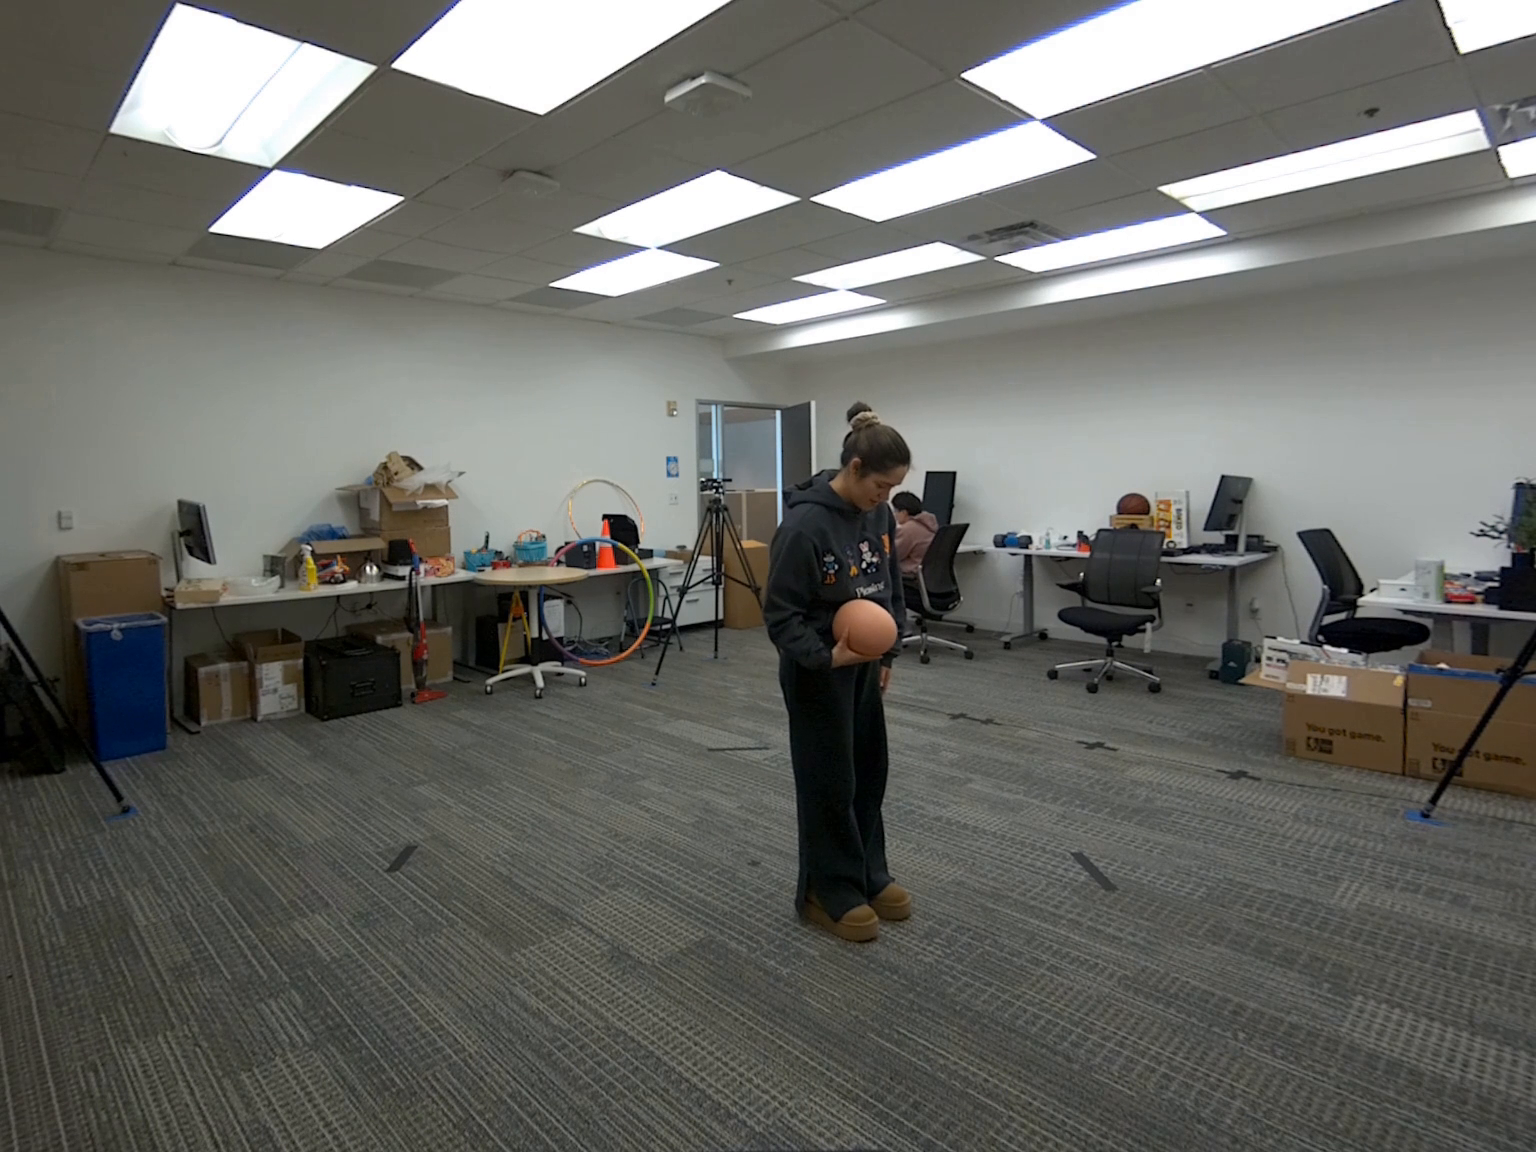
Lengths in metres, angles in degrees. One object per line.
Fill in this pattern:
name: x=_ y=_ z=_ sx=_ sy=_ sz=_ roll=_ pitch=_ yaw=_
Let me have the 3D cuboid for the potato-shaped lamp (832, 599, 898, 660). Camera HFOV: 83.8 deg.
potato-shaped lamp: x=0.282 y=0.158 z=2.478 sx=0.164 sy=0.167 sz=0.204 roll=-31 pitch=24 yaw=-18
